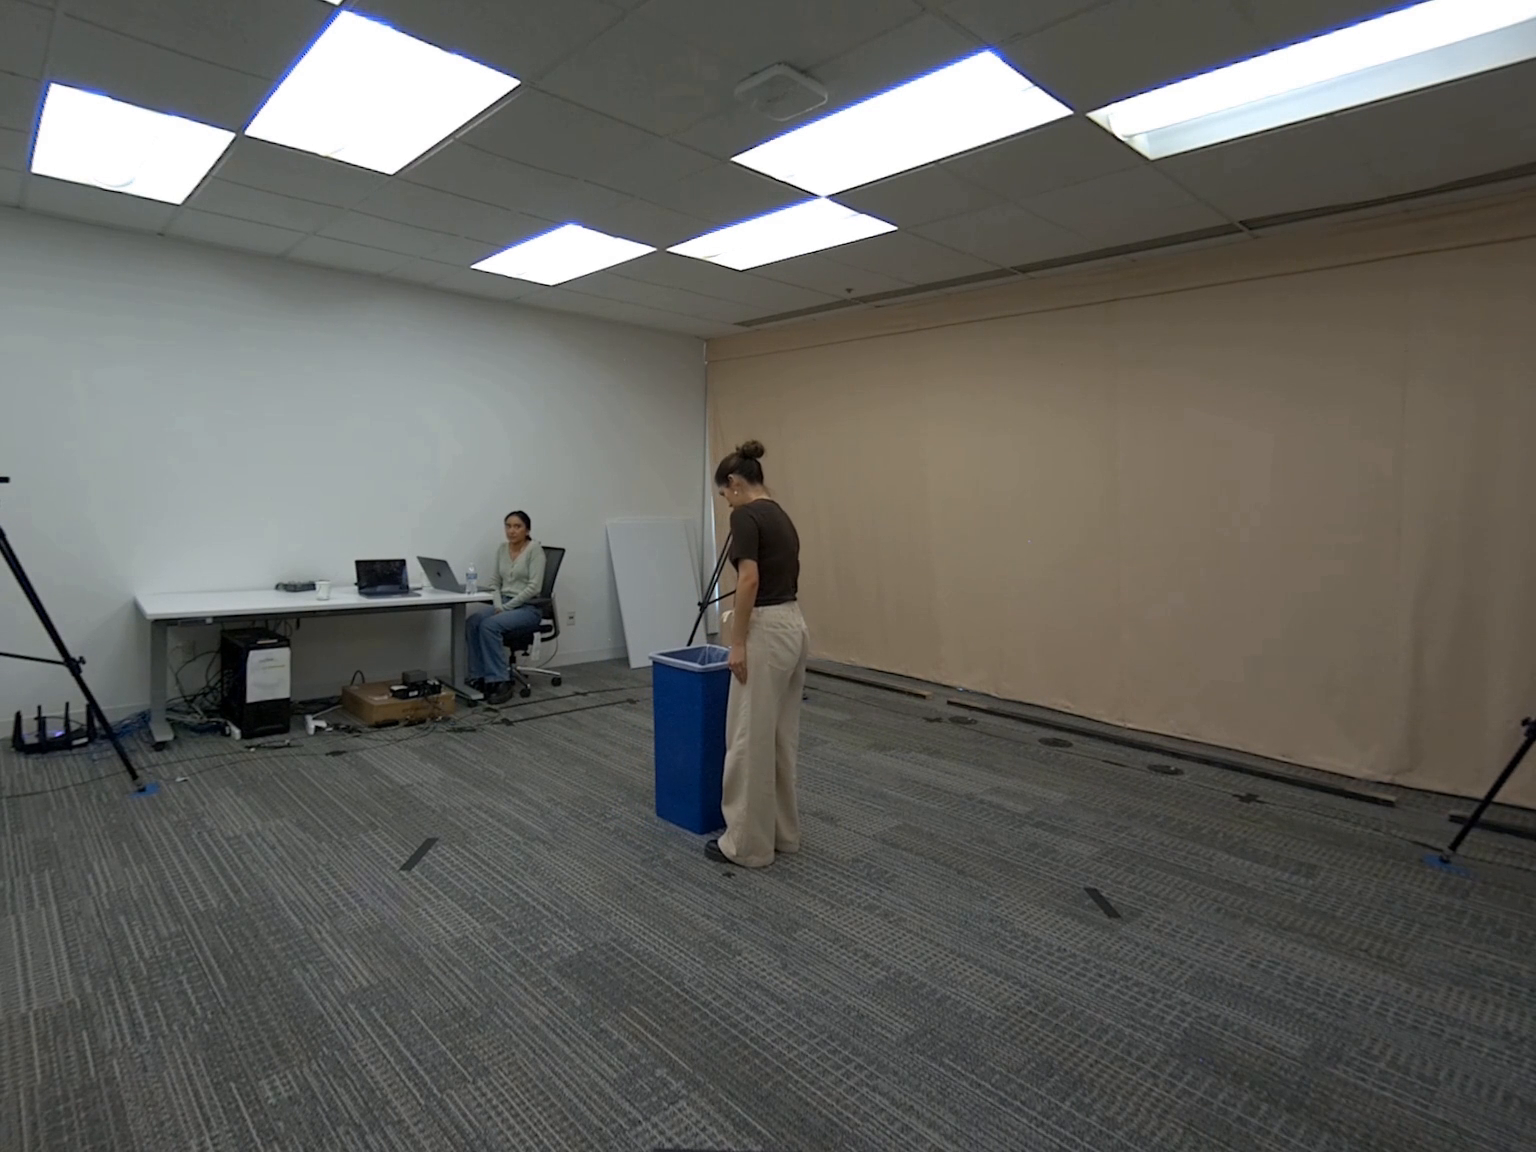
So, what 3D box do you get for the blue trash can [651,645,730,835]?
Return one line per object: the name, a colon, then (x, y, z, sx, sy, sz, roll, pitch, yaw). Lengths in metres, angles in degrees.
blue trash can: (-0.290, 0.691, 3.652, 0.384, 0.711, 0.369, 6, 6, 44)
